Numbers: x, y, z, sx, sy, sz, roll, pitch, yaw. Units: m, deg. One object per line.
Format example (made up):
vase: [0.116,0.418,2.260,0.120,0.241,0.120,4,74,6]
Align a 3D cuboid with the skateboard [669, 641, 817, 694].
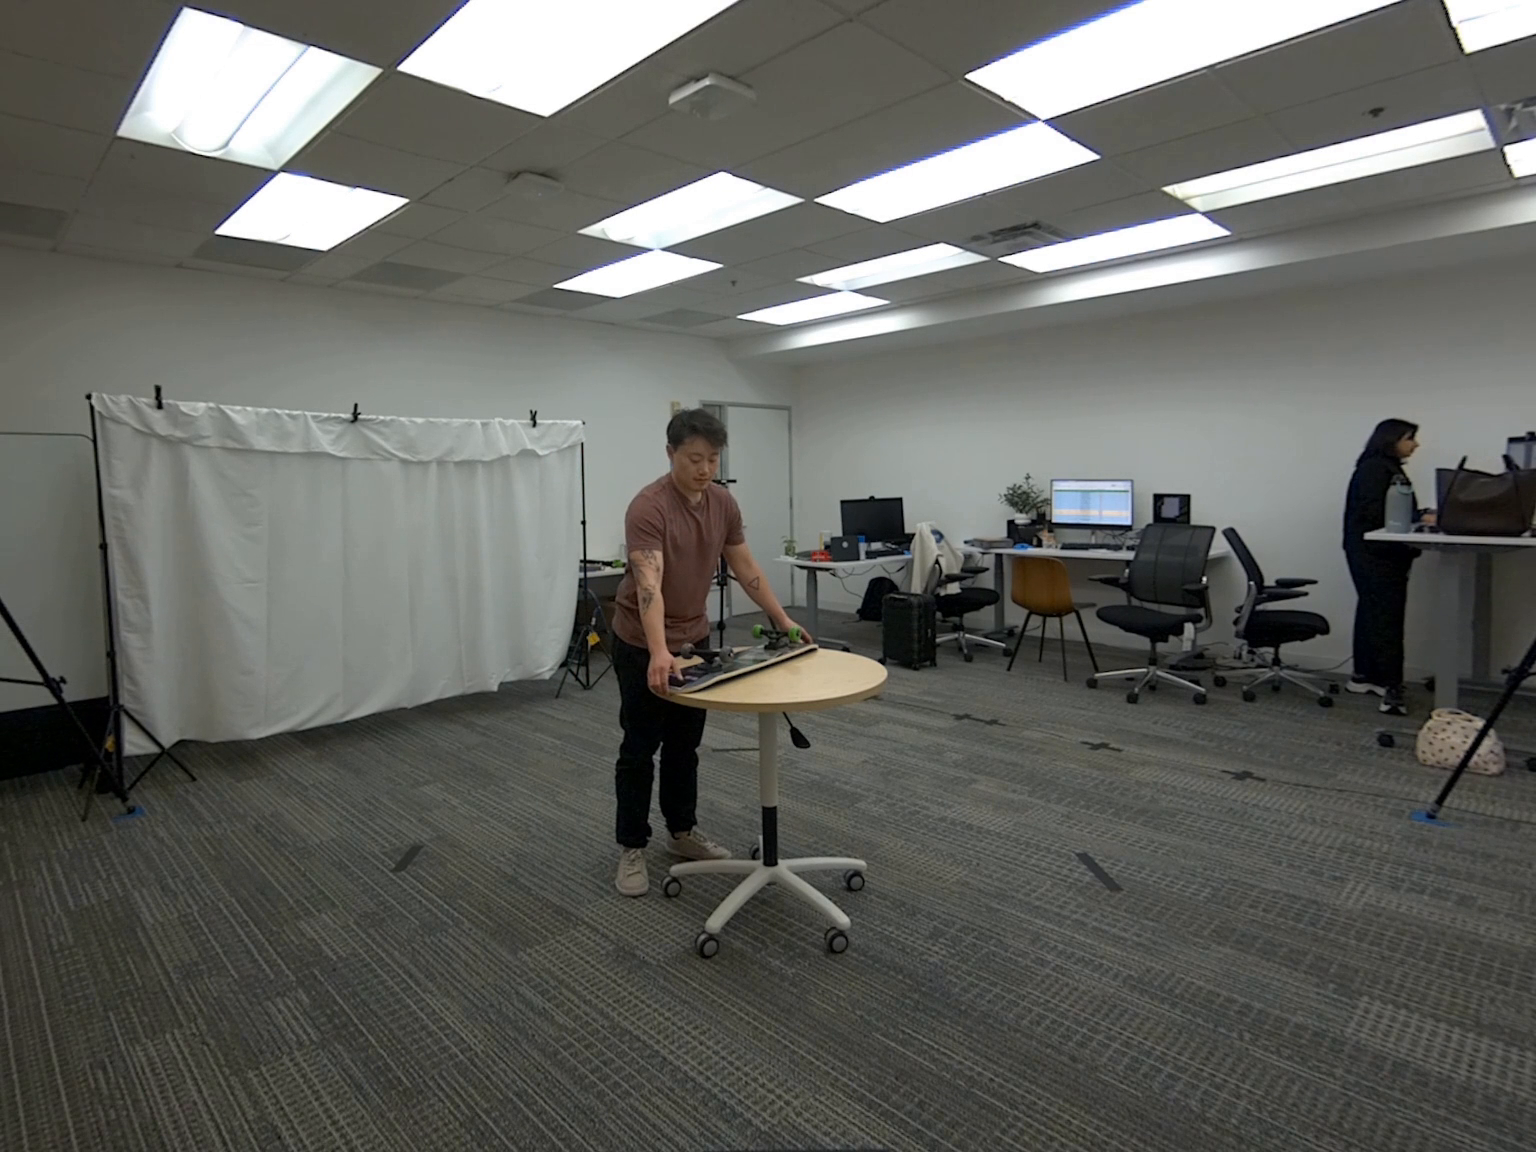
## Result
skateboard: [-0.074,0.246,2.828,0.199,0.110,0.767,1,6,35]
